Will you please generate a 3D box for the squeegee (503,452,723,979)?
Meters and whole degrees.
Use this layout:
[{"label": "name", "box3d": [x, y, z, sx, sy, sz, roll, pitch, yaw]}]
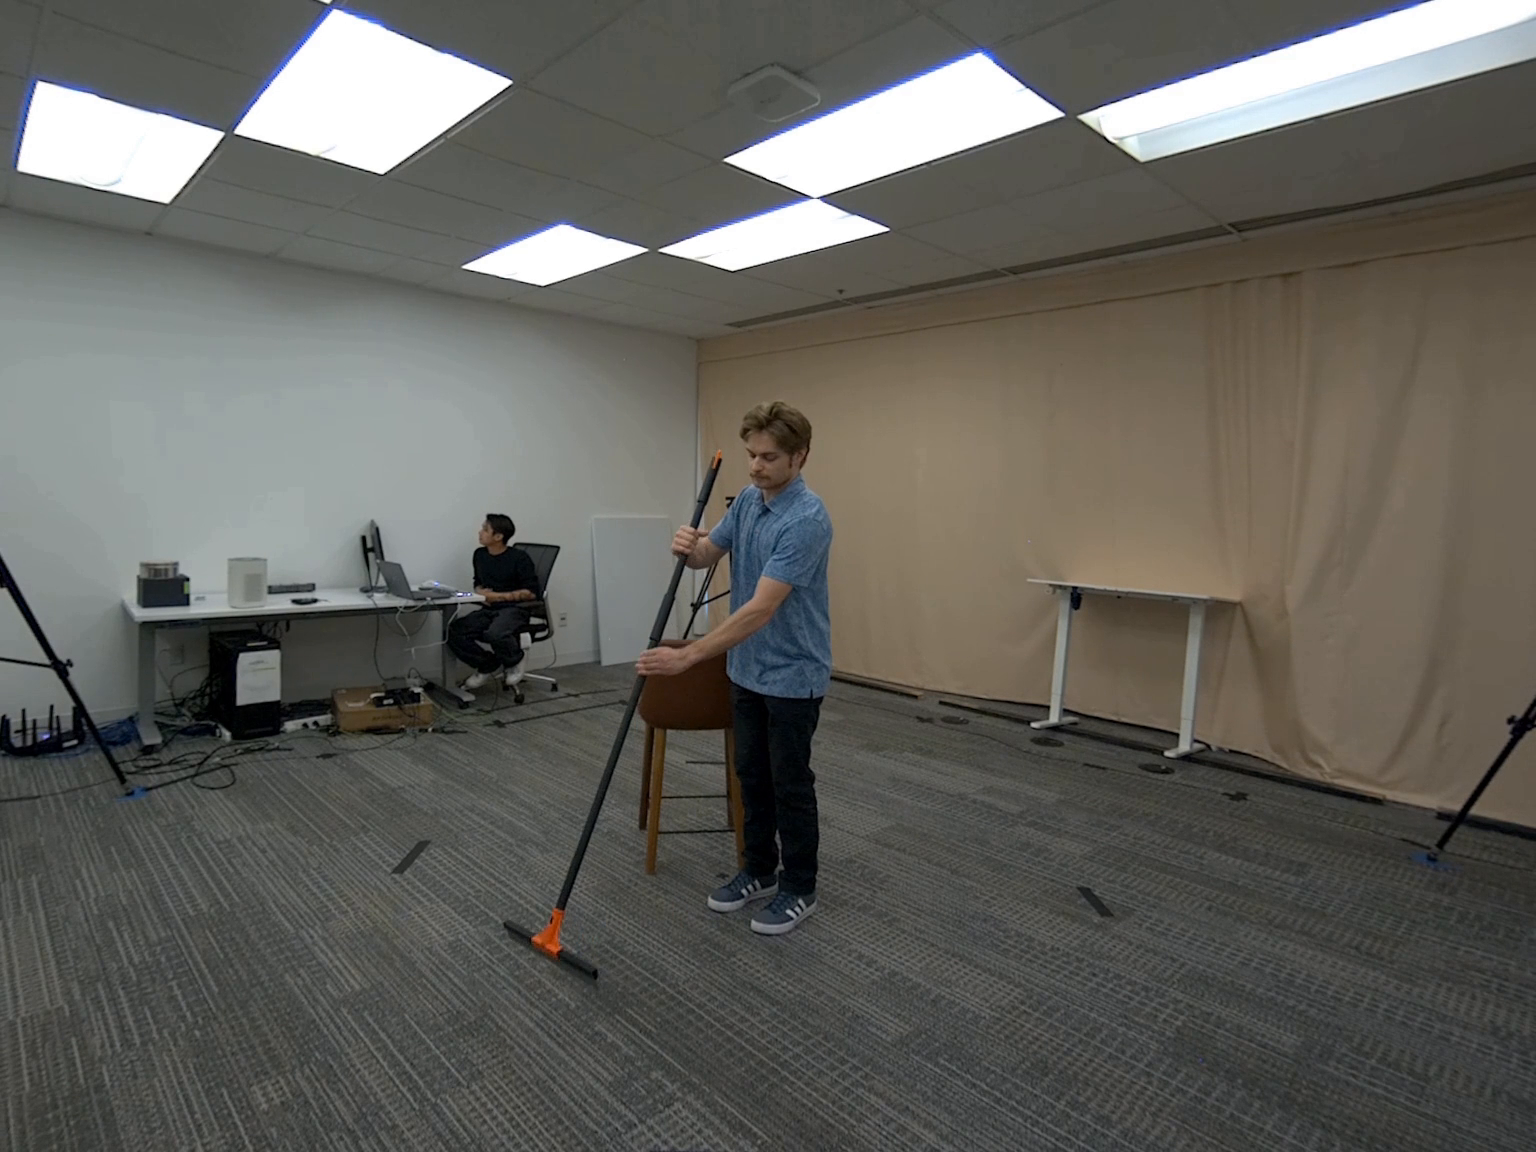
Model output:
[{"label": "squeegee", "box3d": [-0.366, 0.312, 2.408, 0.447, 1.550, 0.051, -2, -26, 45]}]
